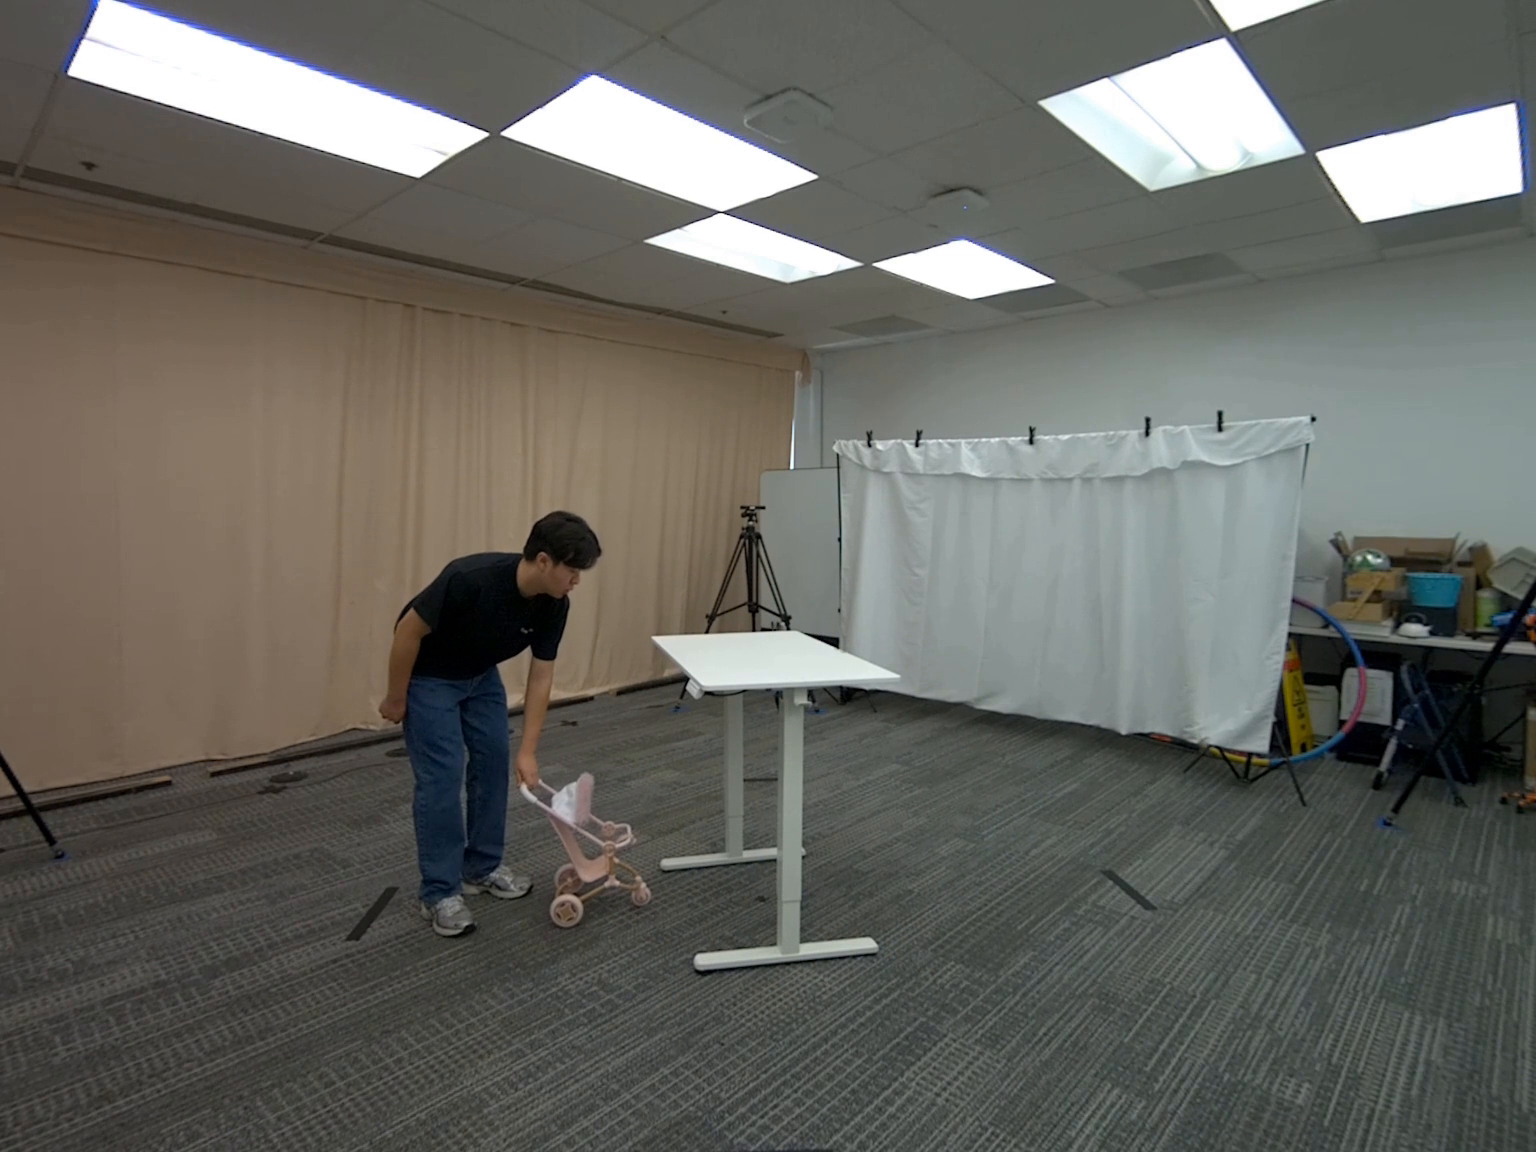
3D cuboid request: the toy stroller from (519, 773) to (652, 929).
[{"bbox_3d":[-0.618,0.926,2.903,0.340,0.533,0.283,-13,3,-3],"label":"toy stroller"}]
